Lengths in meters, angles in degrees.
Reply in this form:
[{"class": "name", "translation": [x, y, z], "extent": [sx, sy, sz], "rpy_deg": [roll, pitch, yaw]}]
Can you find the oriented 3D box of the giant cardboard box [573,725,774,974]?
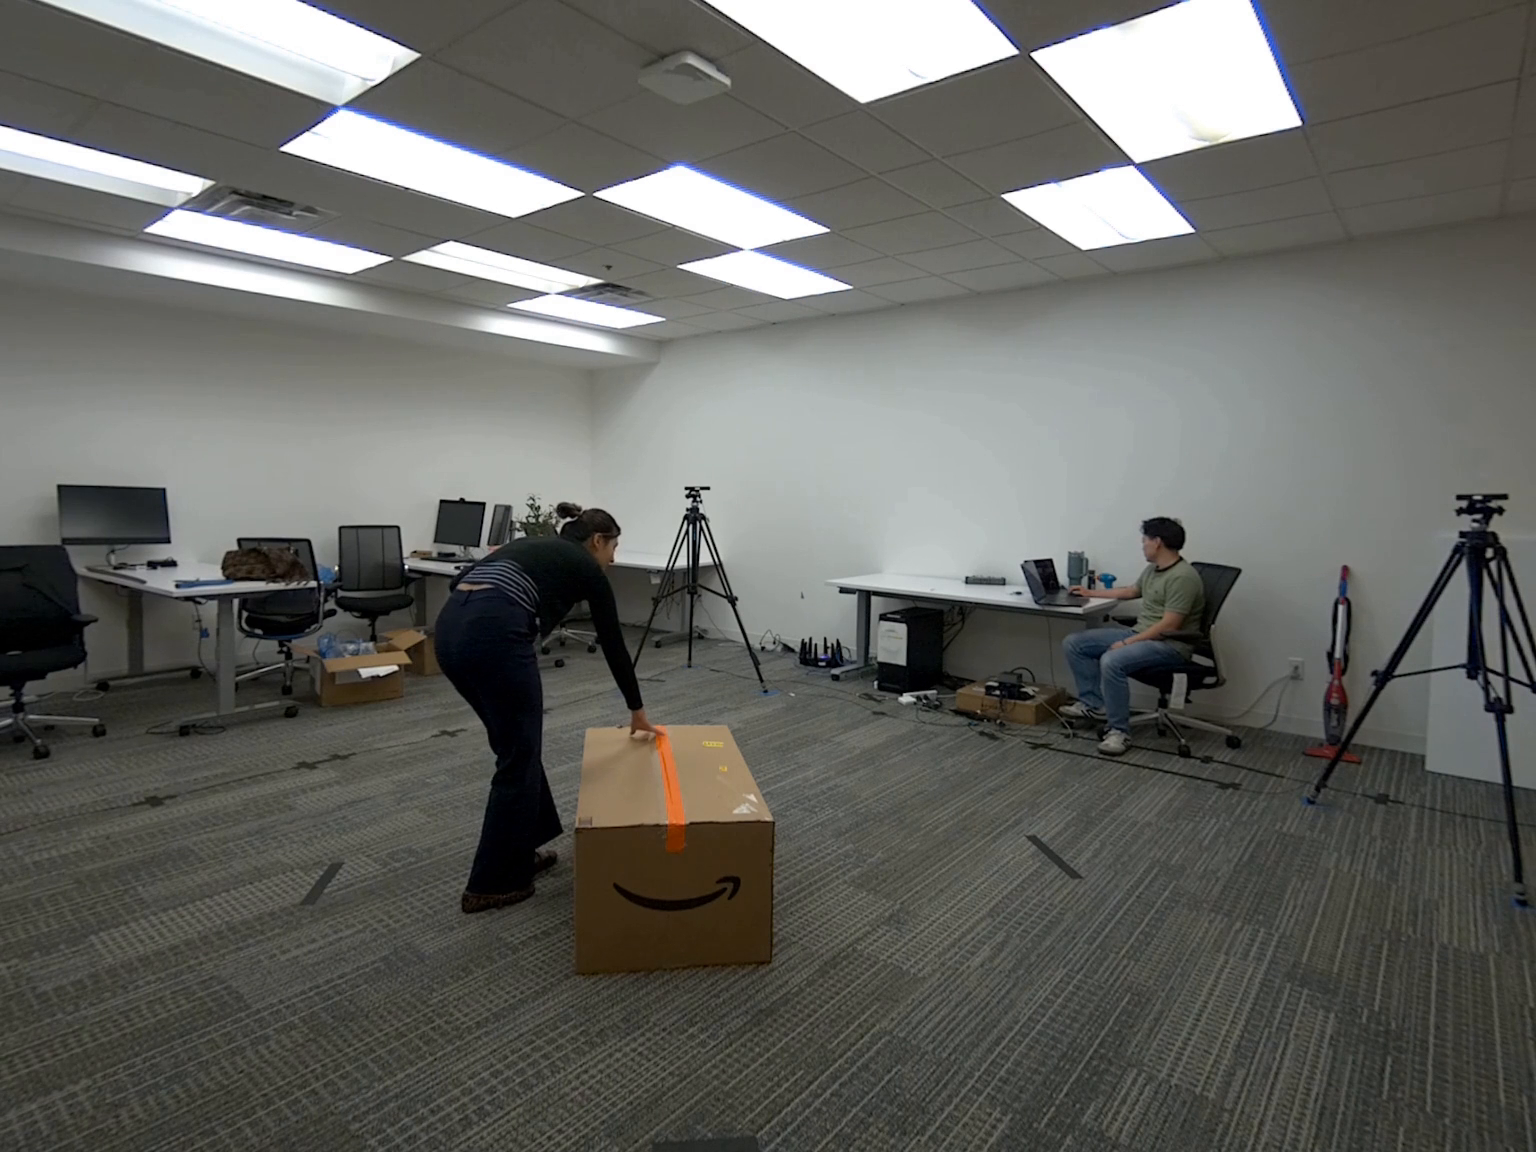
[{"class": "giant cardboard box", "translation": [-0.366, 0.864, 2.940], "extent": [0.572, 0.424, 1.040], "rpy_deg": [0, 5, -10]}]
